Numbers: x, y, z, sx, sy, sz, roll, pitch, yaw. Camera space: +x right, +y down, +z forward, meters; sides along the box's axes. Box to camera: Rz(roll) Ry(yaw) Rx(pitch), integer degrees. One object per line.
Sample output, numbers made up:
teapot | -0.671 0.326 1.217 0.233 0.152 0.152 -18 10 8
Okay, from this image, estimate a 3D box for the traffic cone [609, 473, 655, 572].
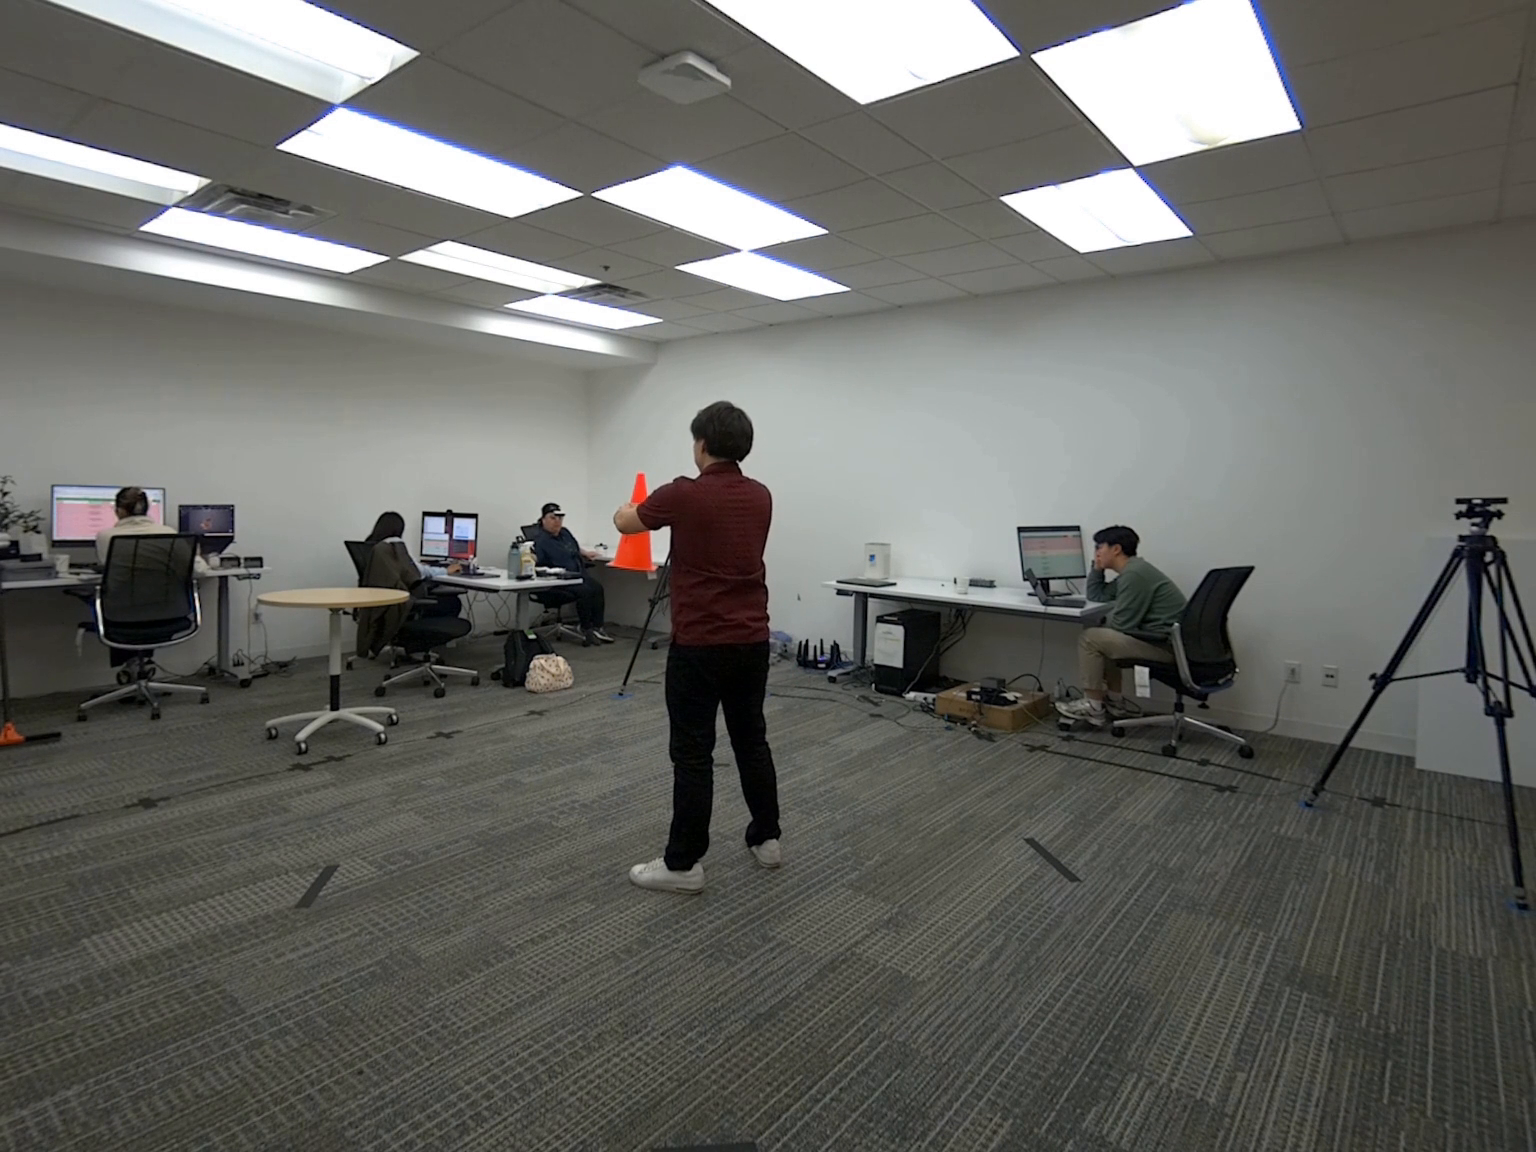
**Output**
traffic cone | -0.547 -0.233 3.471 0.203 0.382 0.206 7 5 -2
